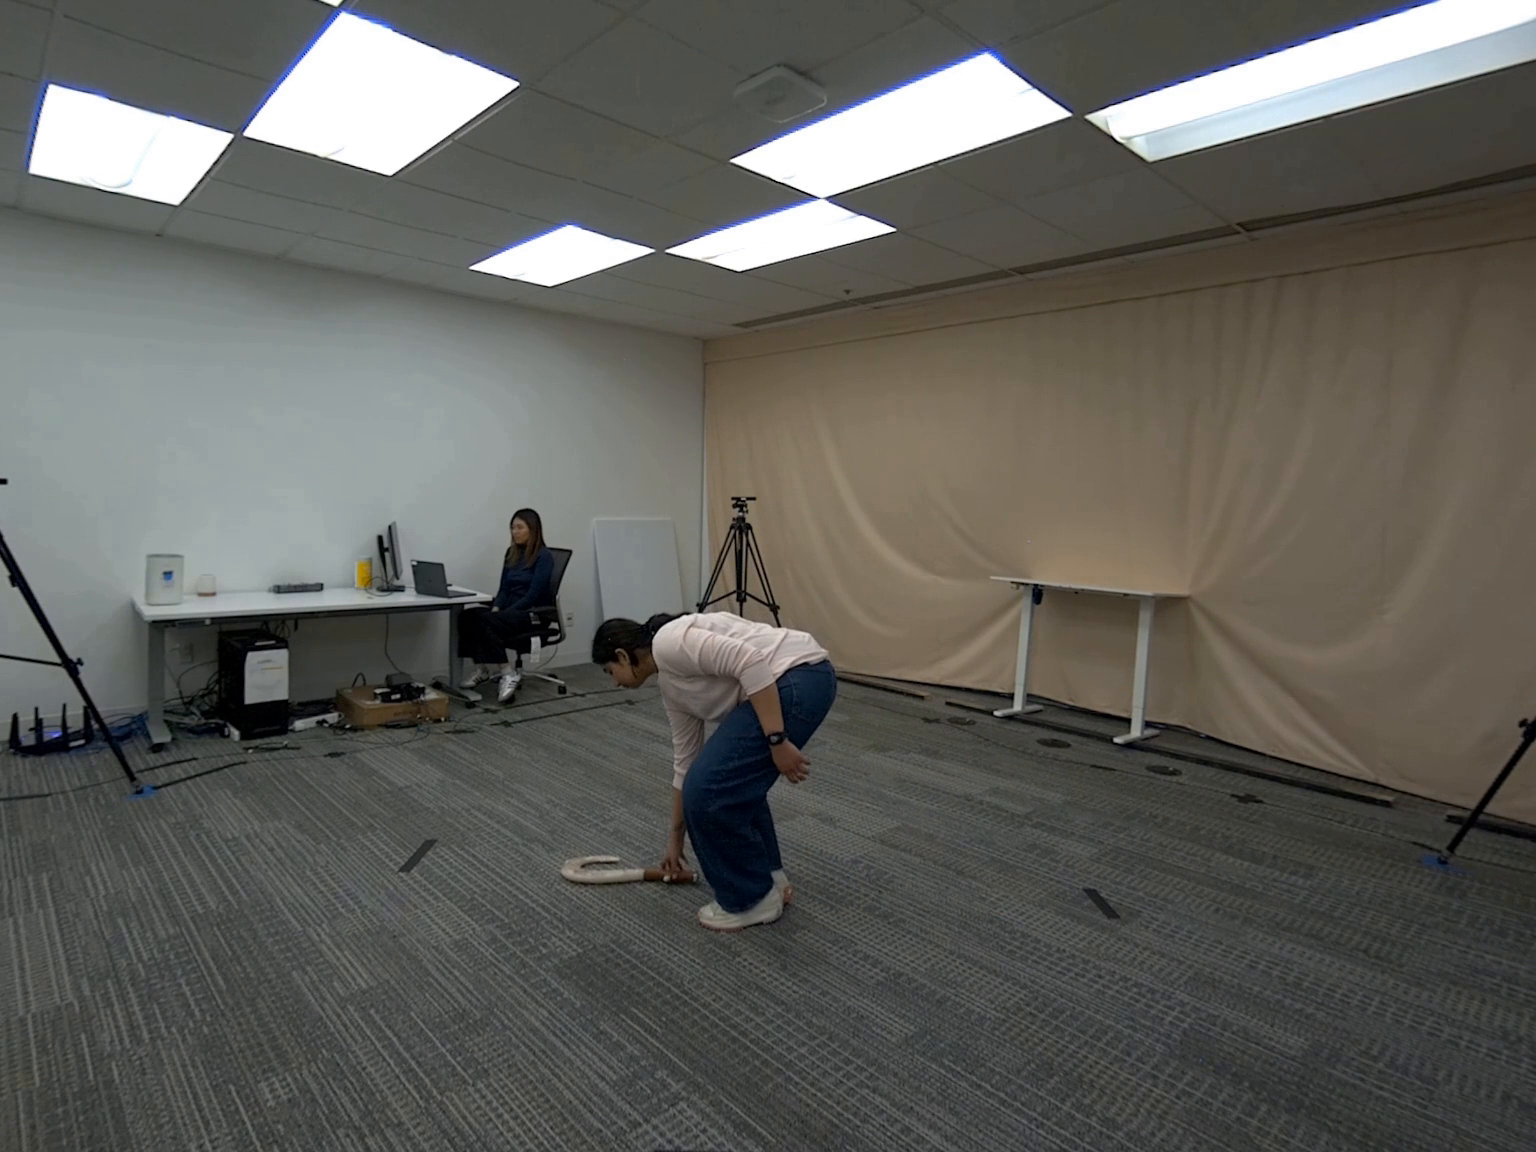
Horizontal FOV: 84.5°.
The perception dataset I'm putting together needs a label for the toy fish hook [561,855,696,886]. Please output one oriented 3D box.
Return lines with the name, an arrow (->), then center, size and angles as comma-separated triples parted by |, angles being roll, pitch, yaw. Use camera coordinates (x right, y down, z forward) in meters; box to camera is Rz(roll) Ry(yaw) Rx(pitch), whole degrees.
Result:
toy fish hook -> -0.507, 1.067, 3.099 | 0.507, 0.048, 0.225 | 1, 6, 1
